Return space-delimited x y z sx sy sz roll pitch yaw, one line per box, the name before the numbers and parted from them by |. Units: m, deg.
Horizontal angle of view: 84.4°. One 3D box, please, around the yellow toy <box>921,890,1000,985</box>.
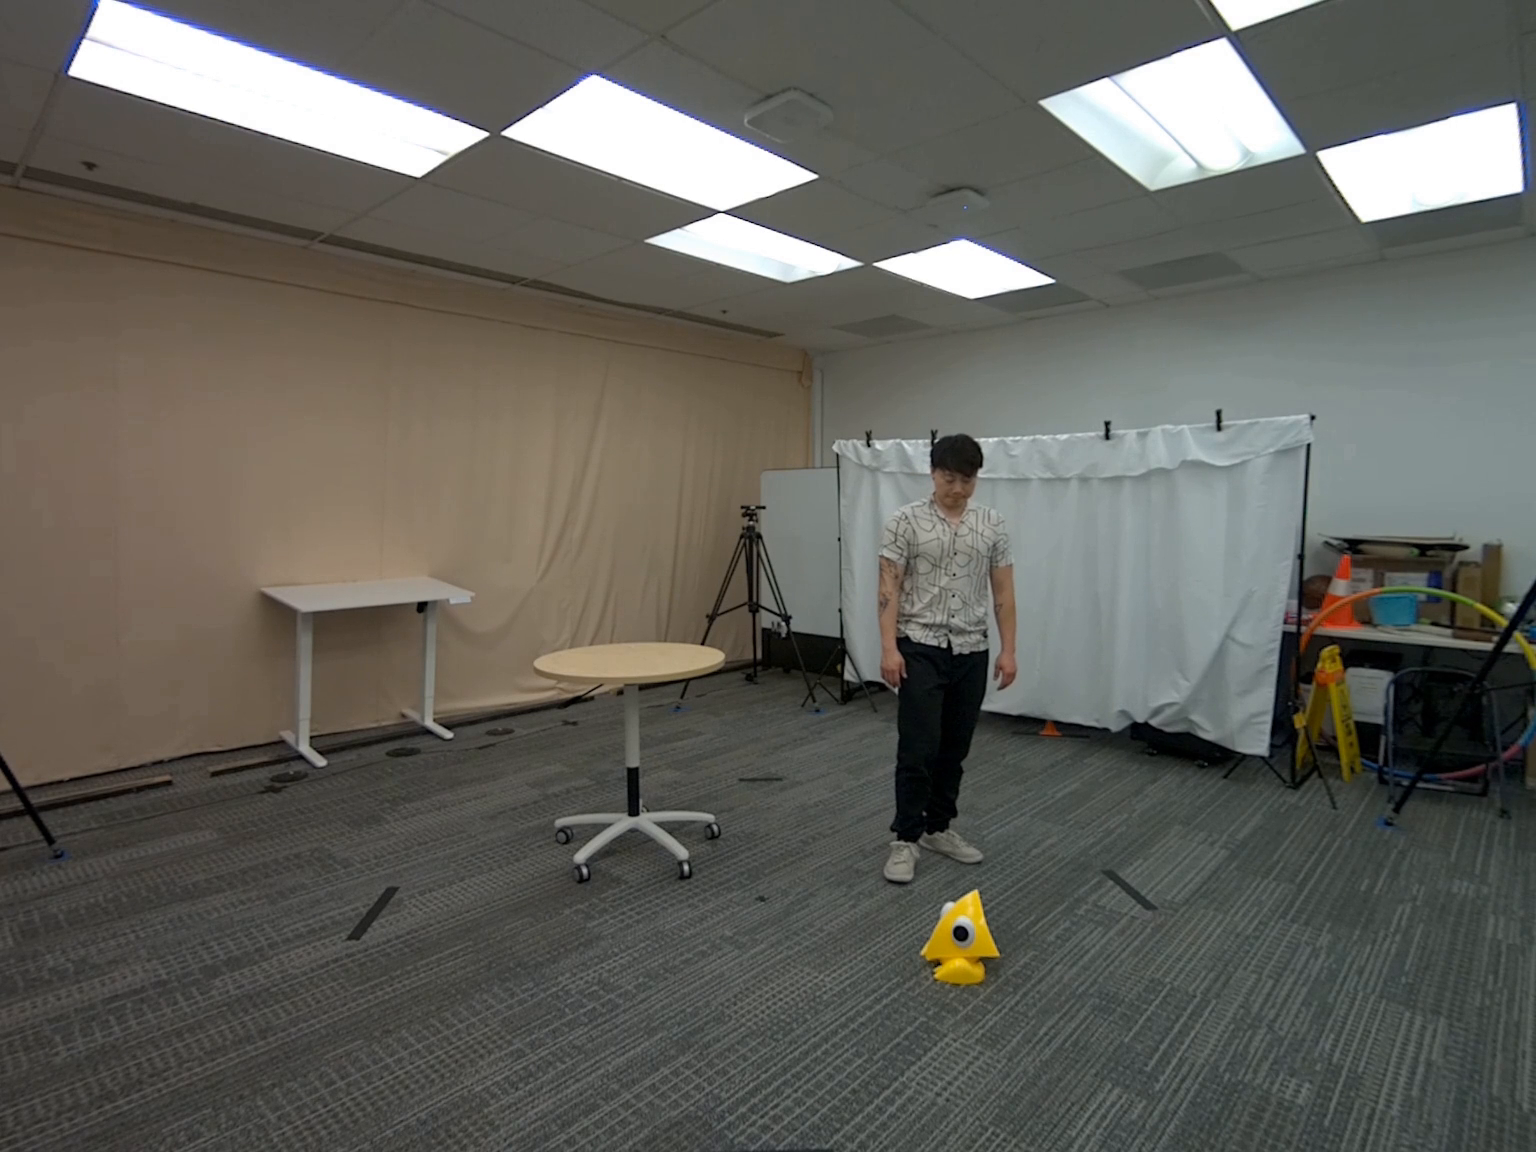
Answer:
yellow toy | 0.578 1.067 2.539 0.192 0.230 0.206 1 3 -6
